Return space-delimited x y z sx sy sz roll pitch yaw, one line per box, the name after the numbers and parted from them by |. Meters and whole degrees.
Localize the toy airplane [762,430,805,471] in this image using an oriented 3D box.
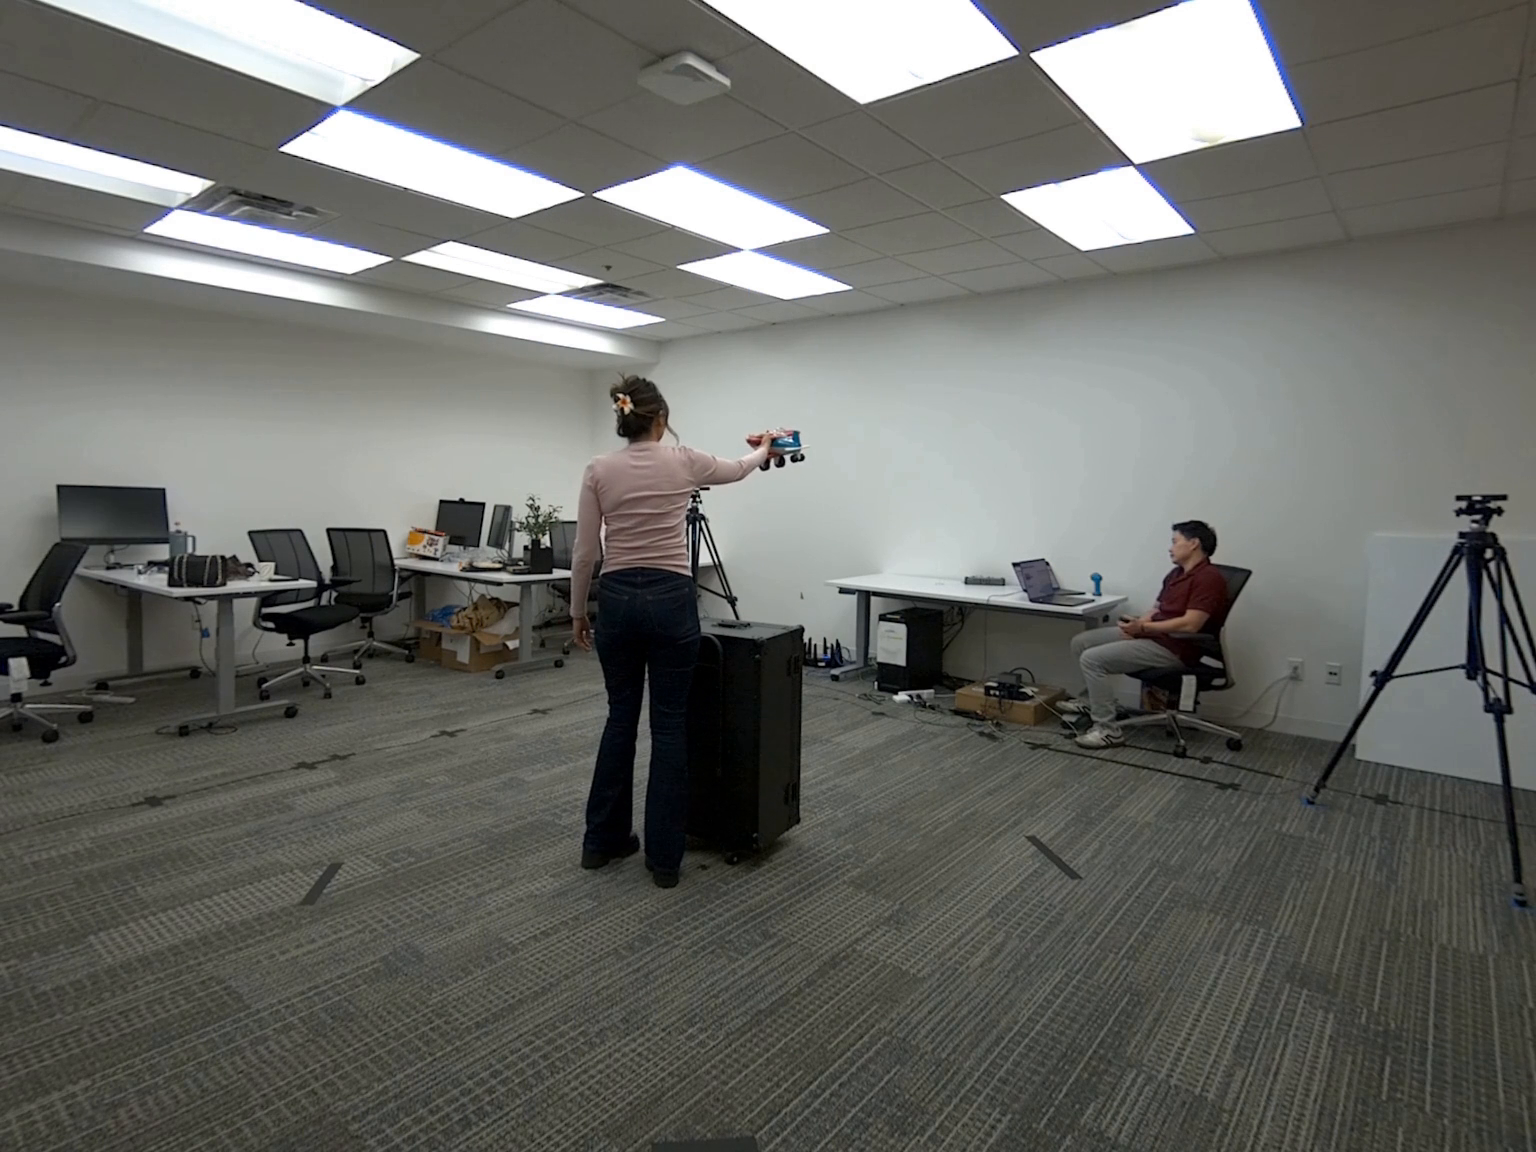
0.060 -0.553 3.620 0.265 0.156 0.247 -11 5 28 | toy airplane
